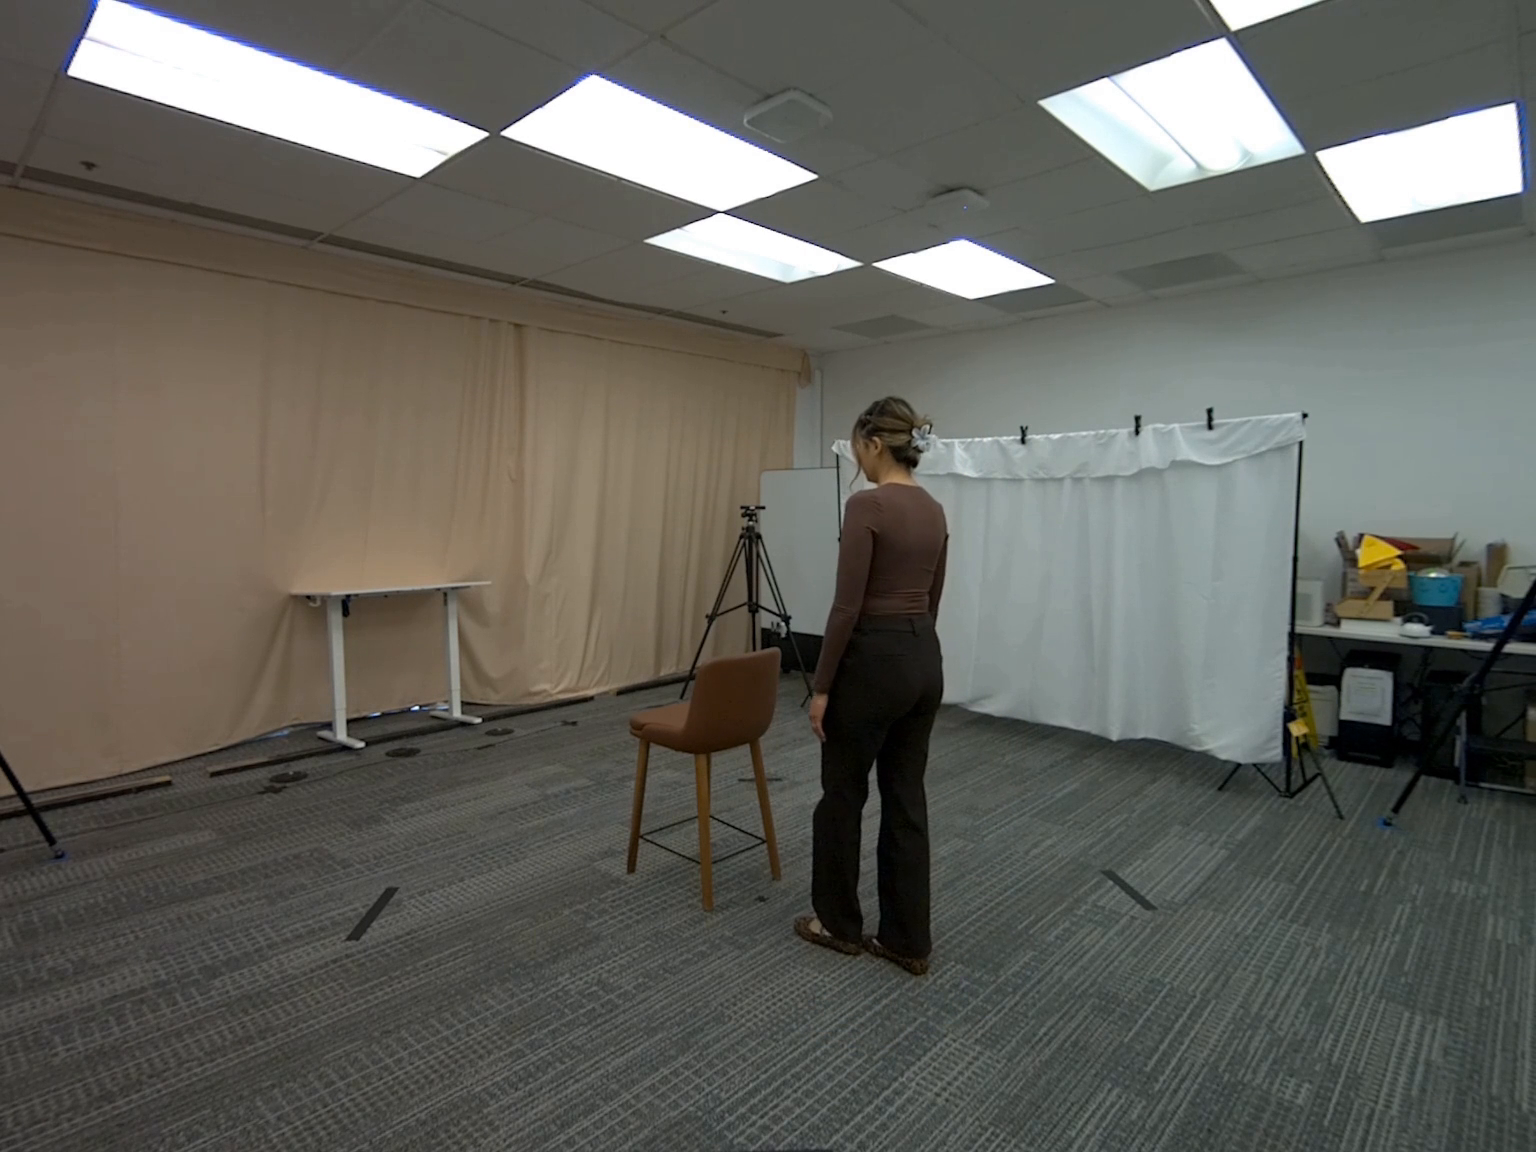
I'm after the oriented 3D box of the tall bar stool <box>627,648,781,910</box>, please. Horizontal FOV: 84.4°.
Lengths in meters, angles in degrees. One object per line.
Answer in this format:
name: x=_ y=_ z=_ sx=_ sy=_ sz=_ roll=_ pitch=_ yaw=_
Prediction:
tall bar stool: x=-0.236 y=0.696 z=3.155 sx=0.442 sy=0.887 sz=0.483 roll=-3 pitch=6 yaw=-45
